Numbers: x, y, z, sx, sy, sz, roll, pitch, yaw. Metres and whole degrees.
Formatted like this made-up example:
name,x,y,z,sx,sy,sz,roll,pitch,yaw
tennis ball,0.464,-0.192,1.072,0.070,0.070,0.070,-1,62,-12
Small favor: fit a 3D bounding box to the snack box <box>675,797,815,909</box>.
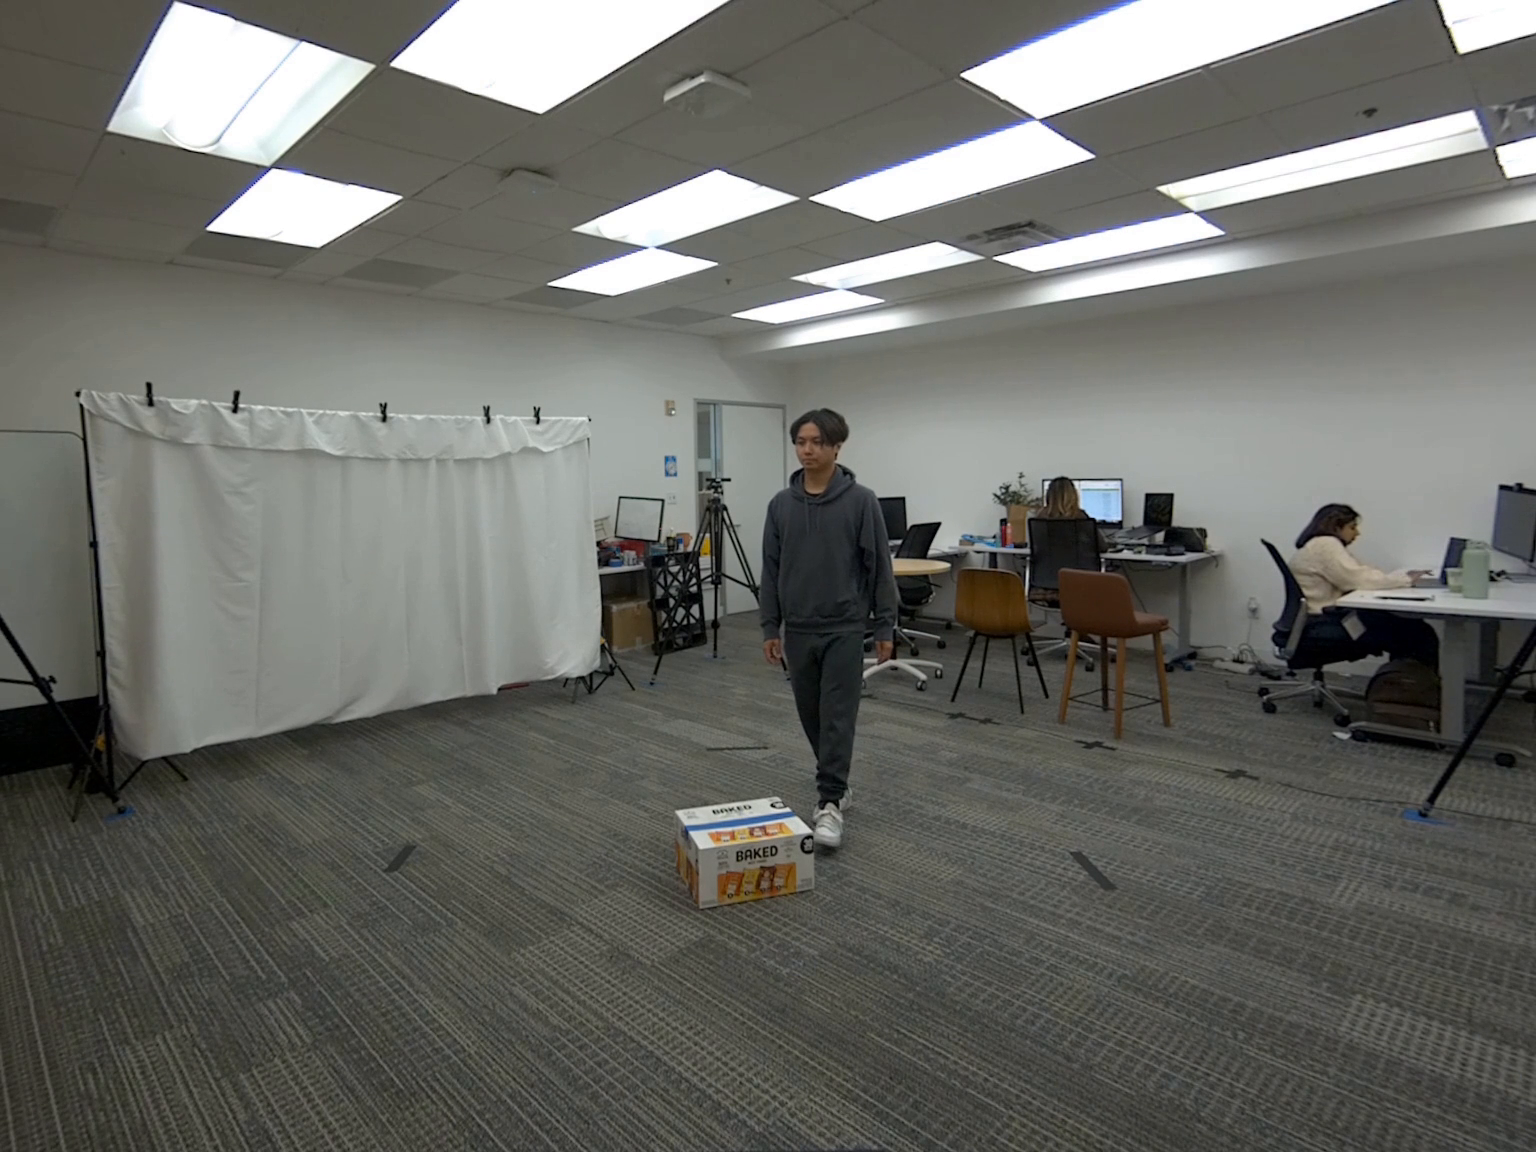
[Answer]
name,x,y,z,sx,sy,sz,roll,pitch,yaw
snack box,-0.087,0.955,2.983,0.399,0.205,0.347,-3,6,-18
